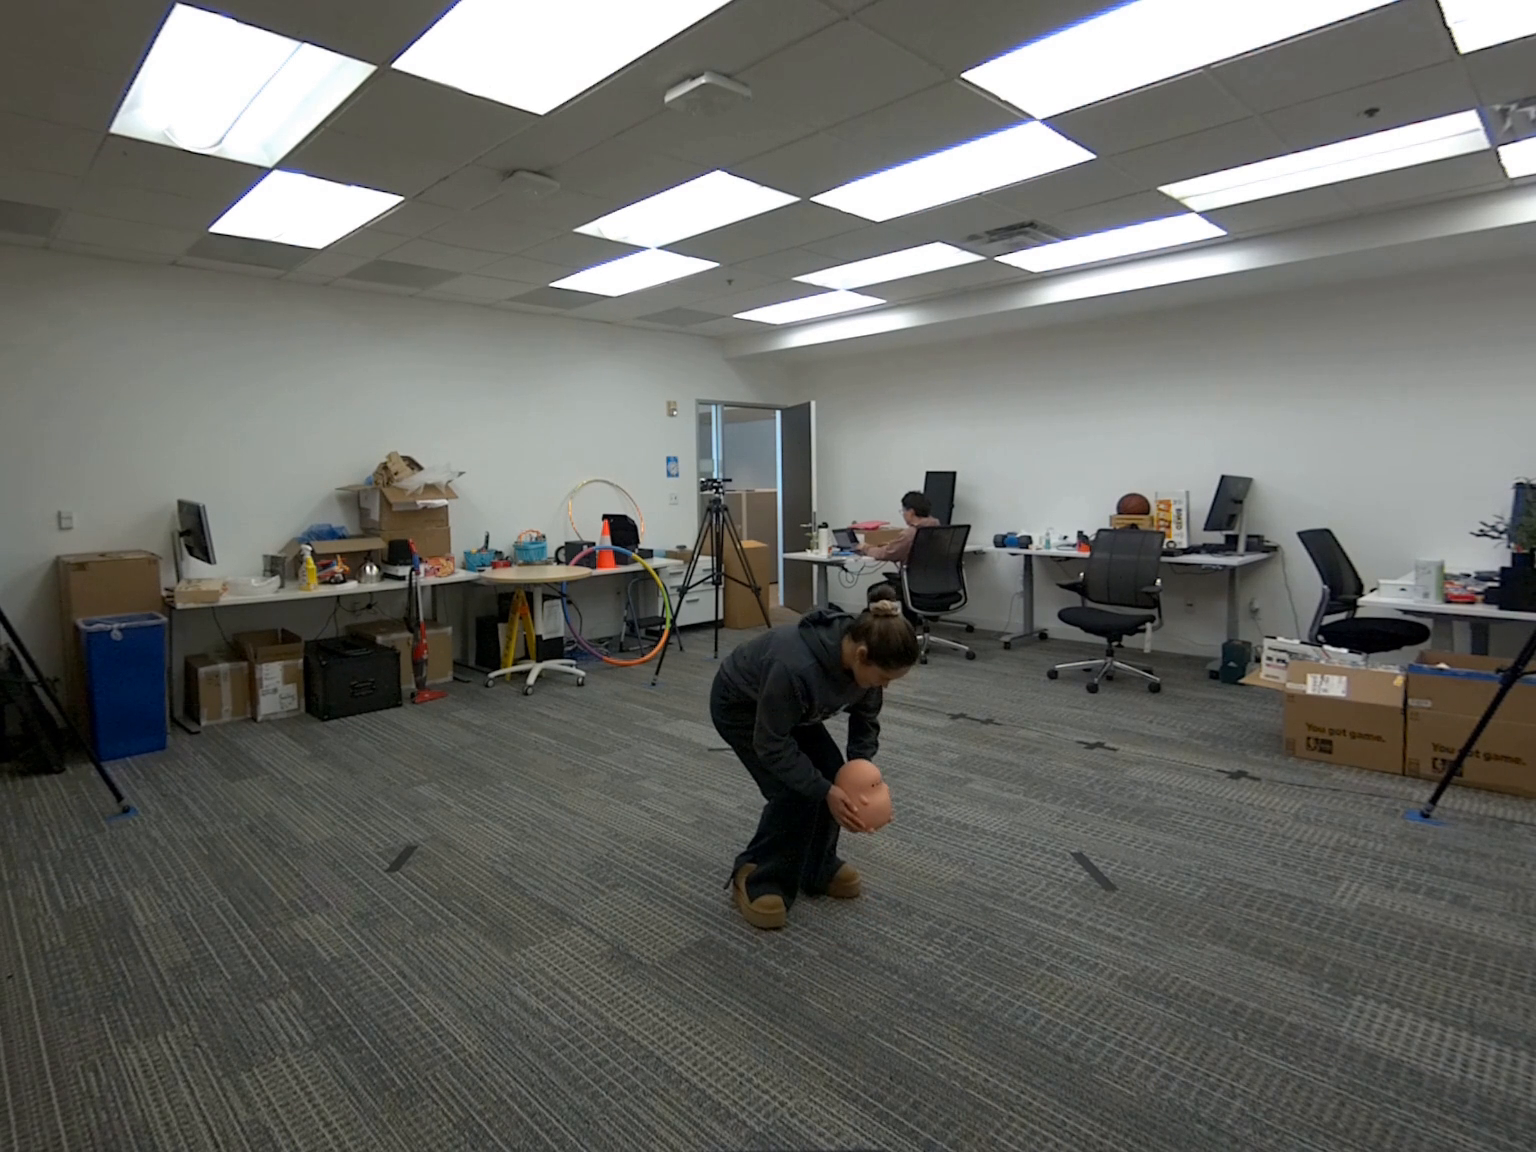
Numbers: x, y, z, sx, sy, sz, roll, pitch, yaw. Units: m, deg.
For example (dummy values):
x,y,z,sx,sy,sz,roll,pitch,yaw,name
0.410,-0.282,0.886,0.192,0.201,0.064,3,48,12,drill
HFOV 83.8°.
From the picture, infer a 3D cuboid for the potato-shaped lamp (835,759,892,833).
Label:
x,y,z,sx,sy,sz,roll,pitch,yaw,name
0.280,0.660,2.582,0.177,0.197,0.161,4,10,43,potato-shaped lamp
